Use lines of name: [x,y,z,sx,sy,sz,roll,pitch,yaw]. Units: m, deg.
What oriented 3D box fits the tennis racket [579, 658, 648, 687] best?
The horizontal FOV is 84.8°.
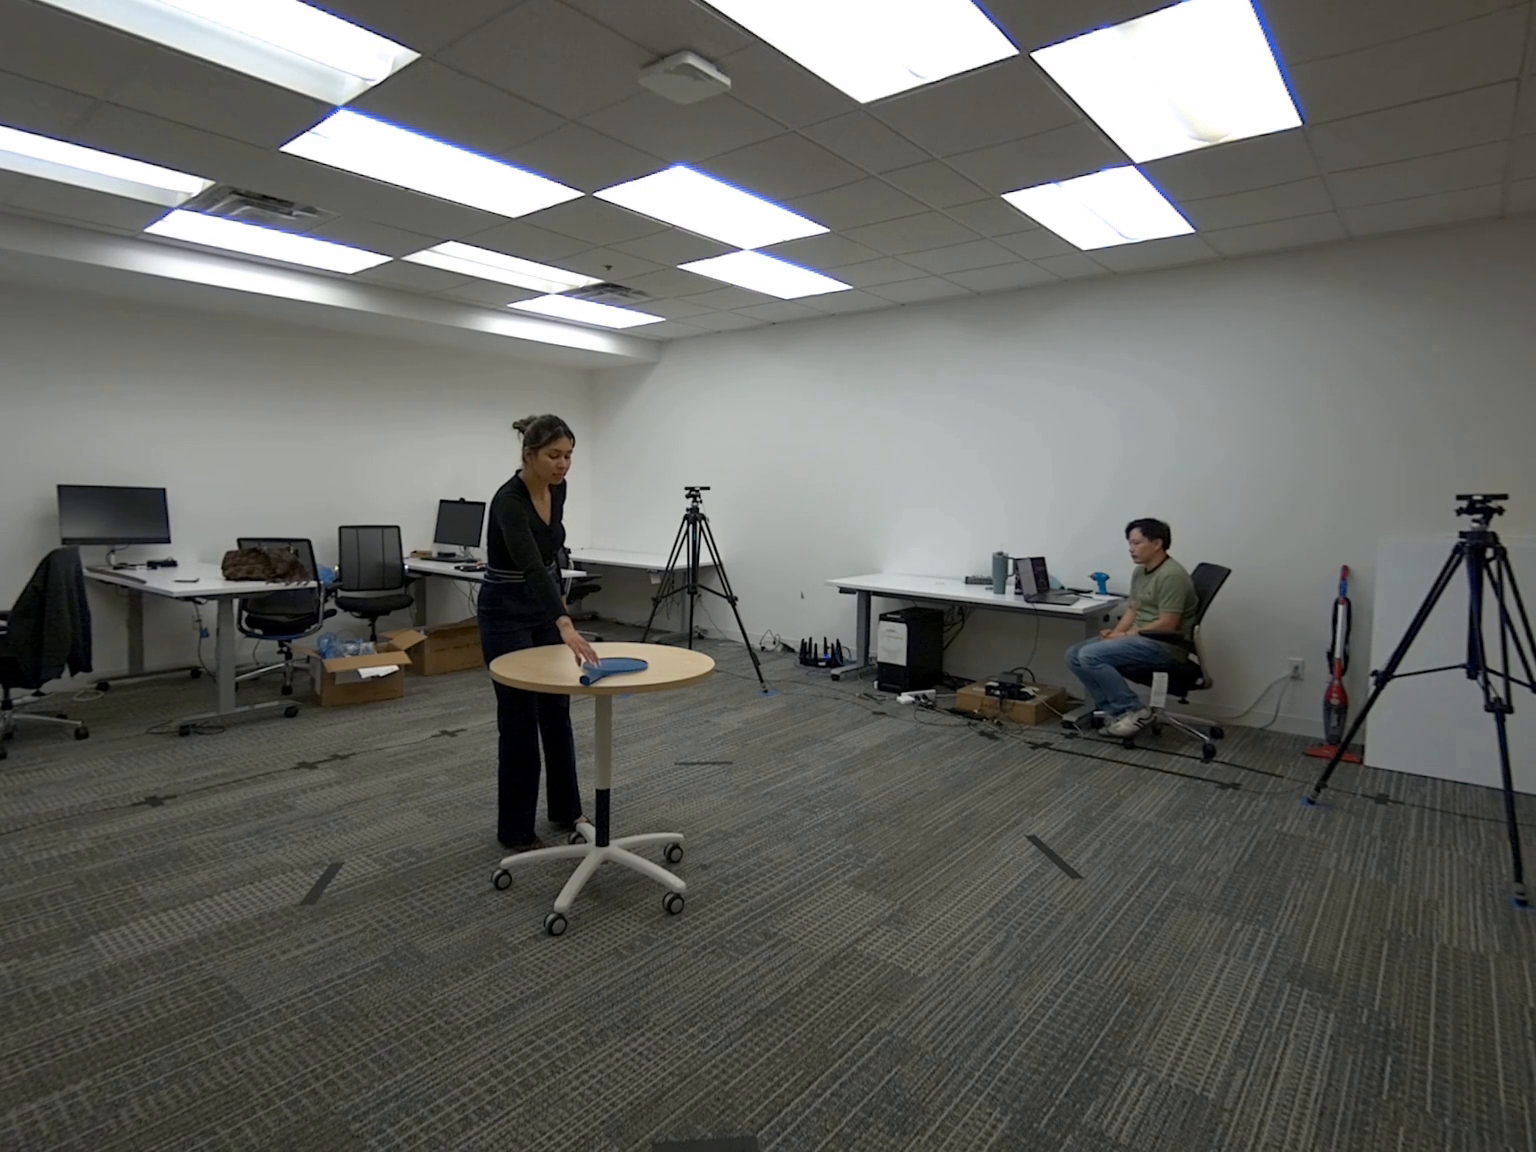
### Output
tennis racket: [-0.529,0.300,2.750,0.216,0.032,0.429,1,4,9]
